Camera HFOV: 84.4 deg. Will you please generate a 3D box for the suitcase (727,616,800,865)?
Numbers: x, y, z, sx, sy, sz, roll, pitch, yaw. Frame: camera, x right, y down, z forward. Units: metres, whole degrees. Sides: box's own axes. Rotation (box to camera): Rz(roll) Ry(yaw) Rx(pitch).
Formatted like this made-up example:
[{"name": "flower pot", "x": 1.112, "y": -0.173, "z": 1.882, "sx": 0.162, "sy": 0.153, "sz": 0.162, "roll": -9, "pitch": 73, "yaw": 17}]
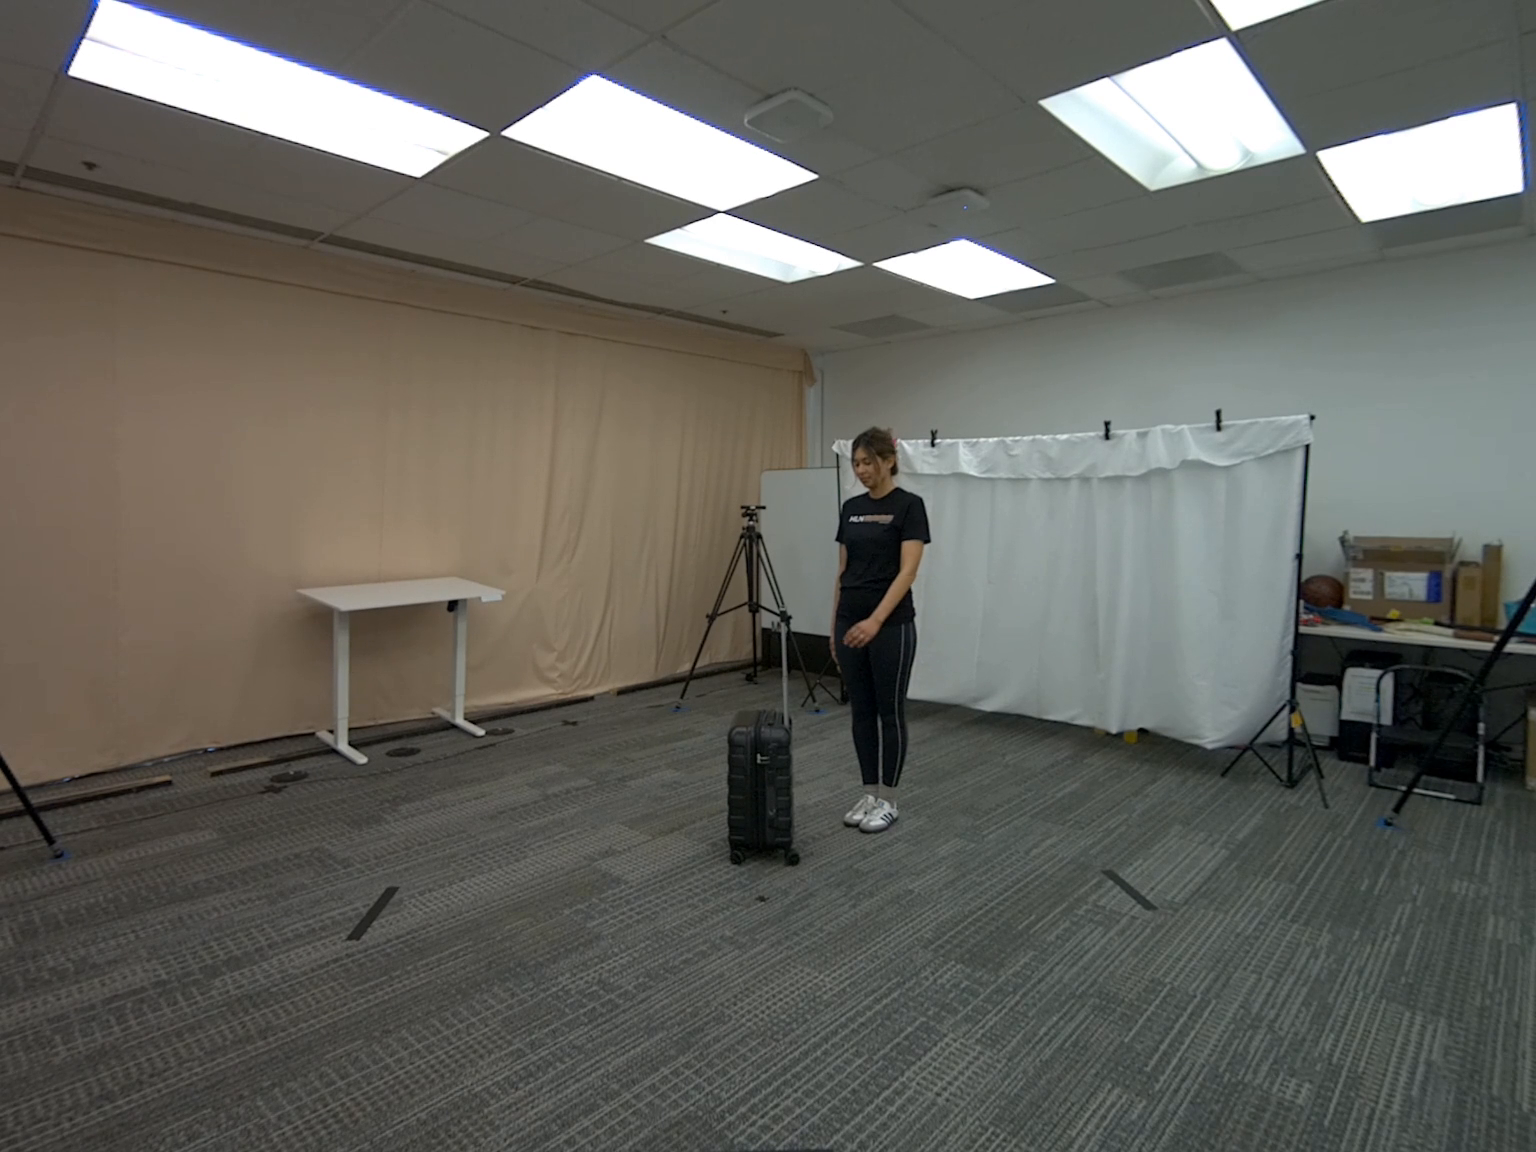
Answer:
[{"name": "suitcase", "x": -0.033, "y": 0.629, "z": 3.400, "sx": 0.258, "sy": 0.977, "sz": 0.384, "roll": -2, "pitch": 3, "yaw": 2}]
